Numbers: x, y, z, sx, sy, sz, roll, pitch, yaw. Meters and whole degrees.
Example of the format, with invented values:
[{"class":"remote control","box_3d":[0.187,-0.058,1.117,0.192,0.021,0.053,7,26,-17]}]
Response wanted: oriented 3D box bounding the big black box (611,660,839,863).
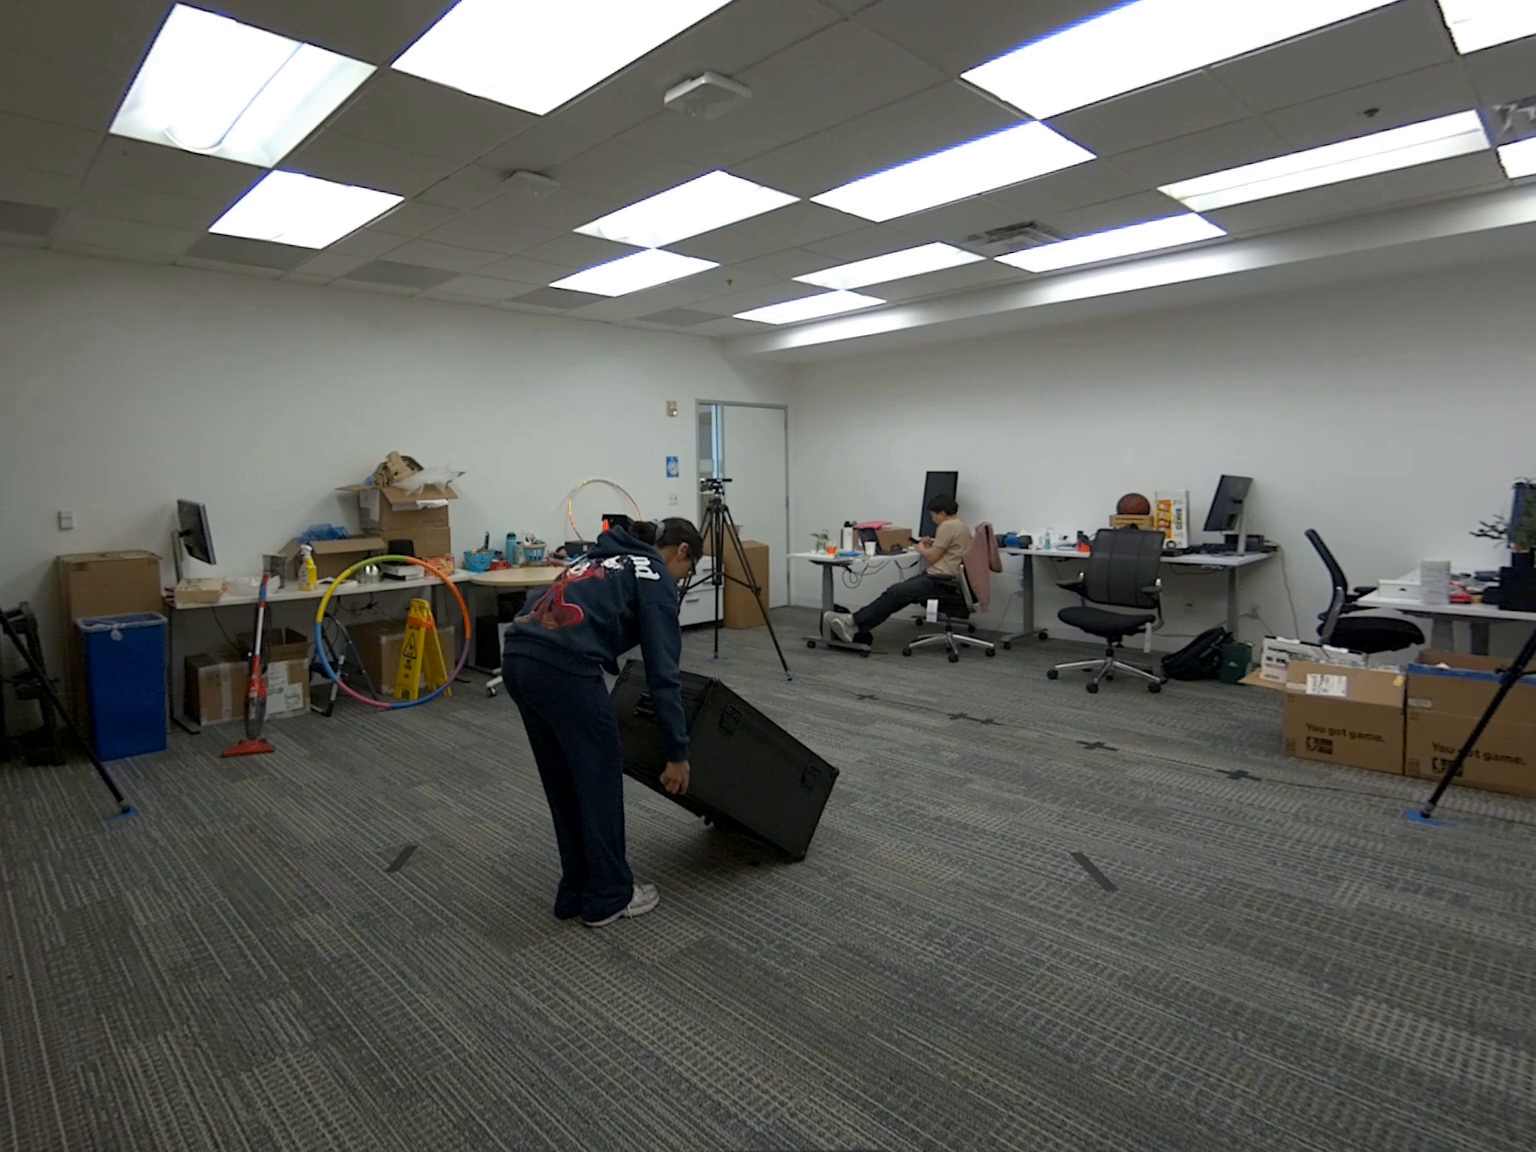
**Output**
[{"class":"big black box","box_3d":[-0.169,0.693,3.144,0.537,0.399,0.829,4,-30,46]}]
